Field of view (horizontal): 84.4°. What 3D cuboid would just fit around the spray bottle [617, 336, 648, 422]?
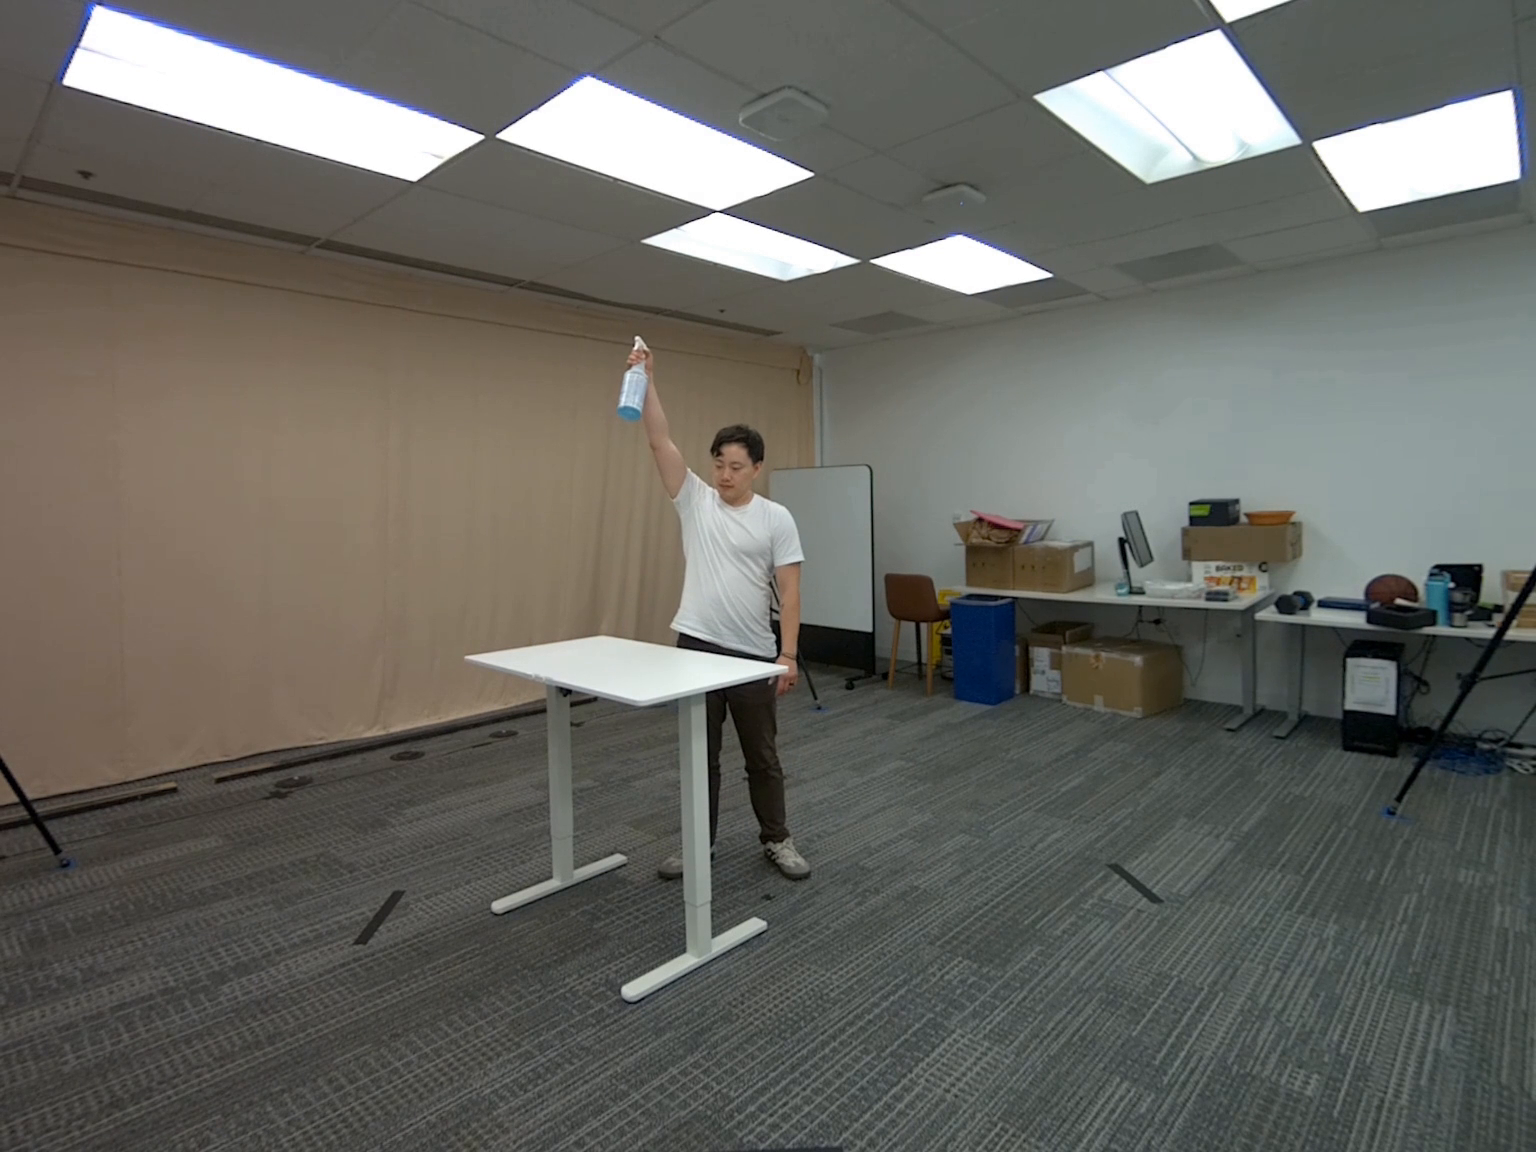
[{"bbox_3d":[-0.469,-0.697,2.985,0.087,0.300,0.089,22,-23,-40],"label":"spray bottle"}]
